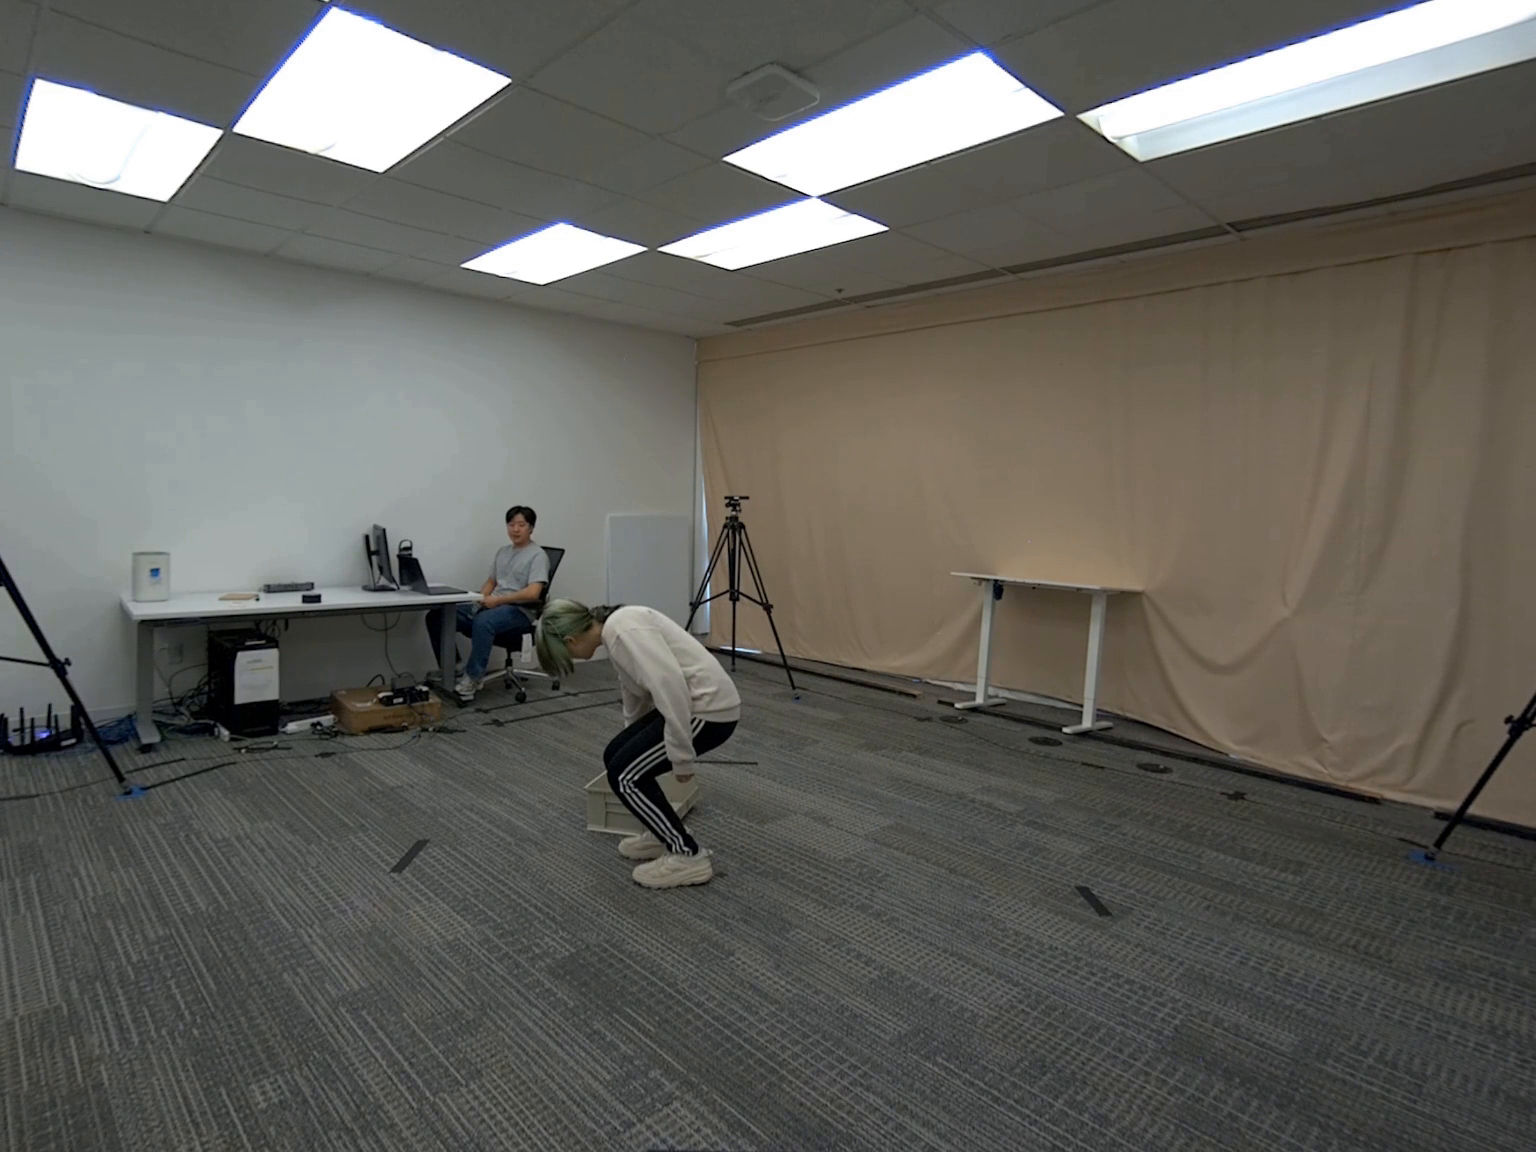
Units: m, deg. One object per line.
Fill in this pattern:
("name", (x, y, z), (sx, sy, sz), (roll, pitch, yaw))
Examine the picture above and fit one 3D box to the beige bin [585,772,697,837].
("beige bin", (-0.554, 0.962, 3.650), (0.381, 0.188, 0.419), (1, 5, 12))
